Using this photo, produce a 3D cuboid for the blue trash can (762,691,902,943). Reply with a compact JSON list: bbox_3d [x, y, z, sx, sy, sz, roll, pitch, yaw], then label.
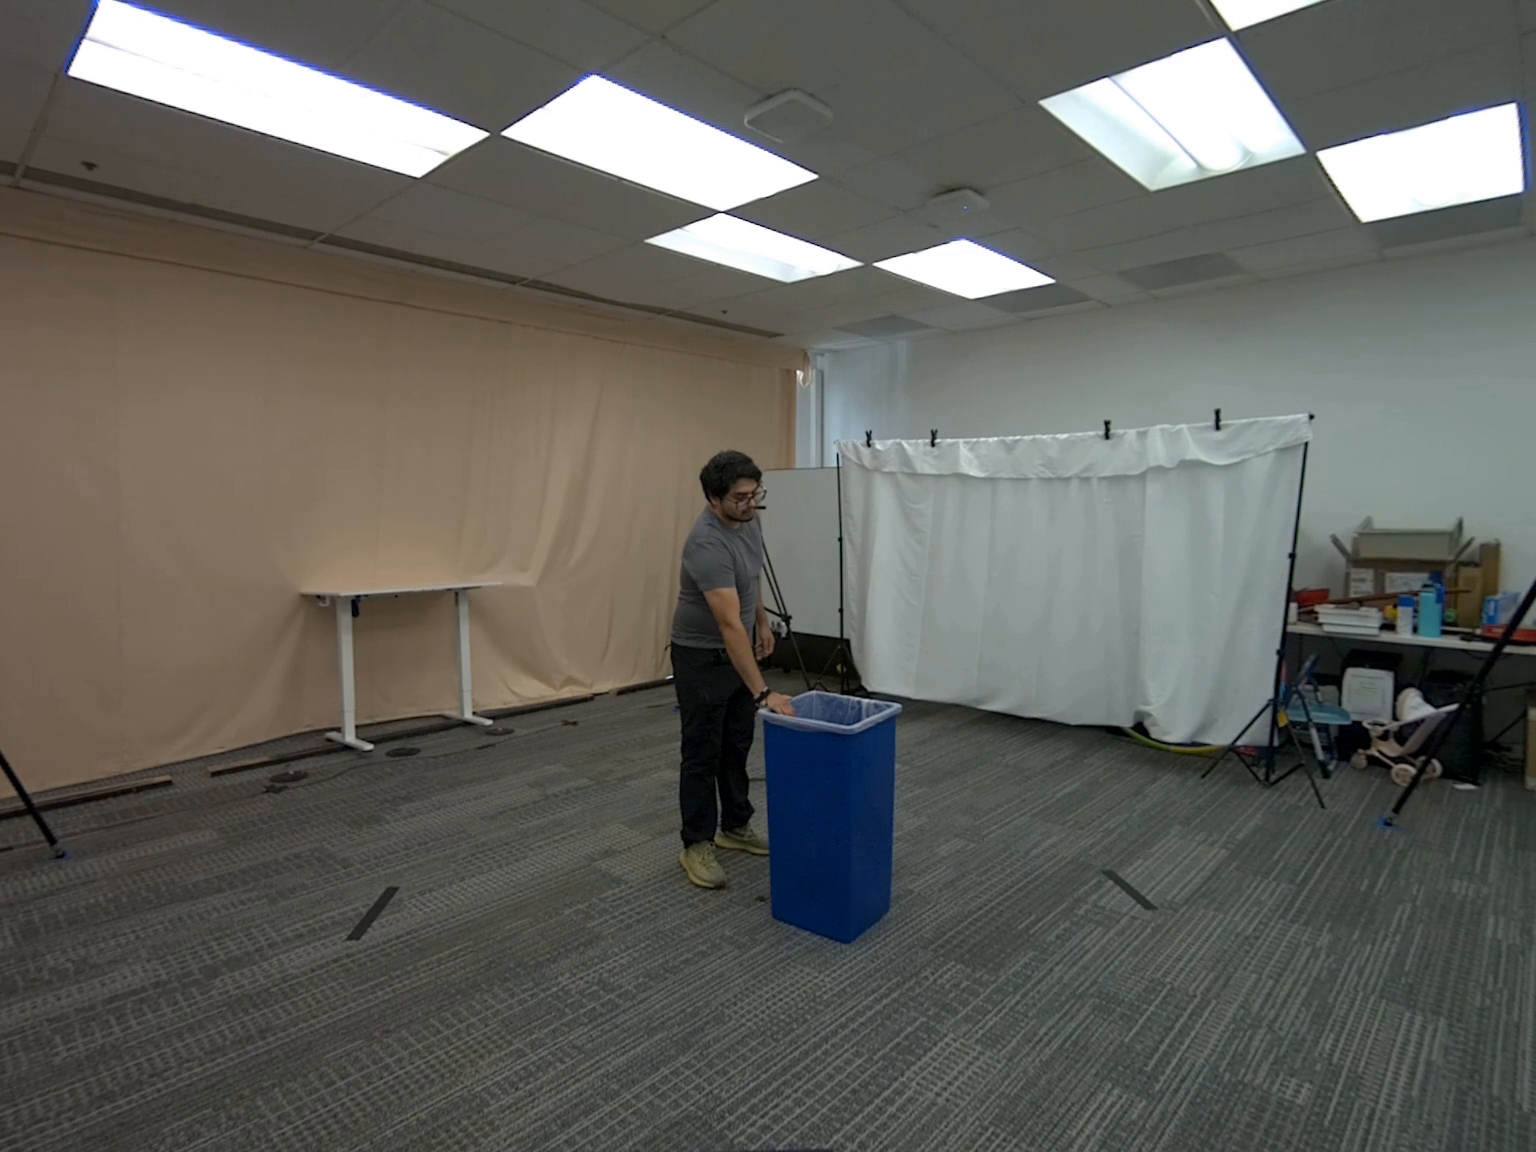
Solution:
[{"bbox_3d":[0.216,0.796,2.844,0.390,0.712,0.363,2,4,37],"label":"blue trash can"}]
